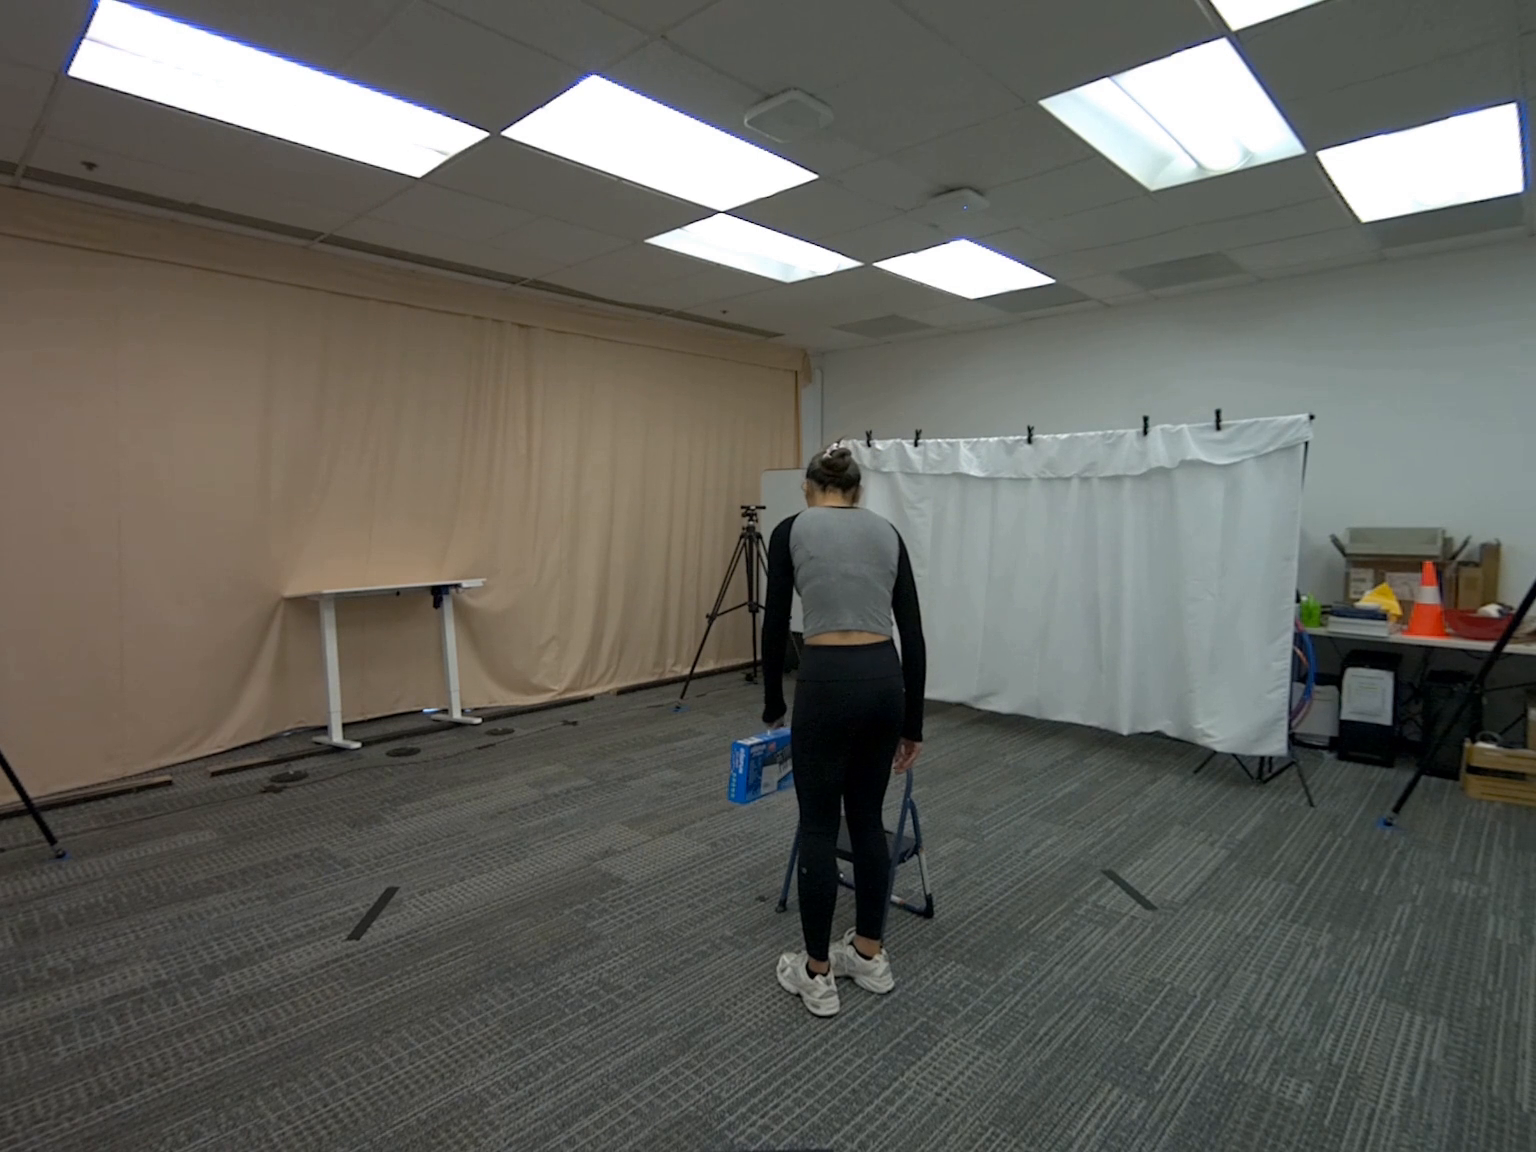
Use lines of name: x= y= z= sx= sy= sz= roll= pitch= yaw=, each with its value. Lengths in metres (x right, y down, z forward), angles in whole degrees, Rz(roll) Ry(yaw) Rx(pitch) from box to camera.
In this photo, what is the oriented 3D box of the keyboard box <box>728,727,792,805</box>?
keyboard box: x=0.026 y=0.576 z=2.610 sx=0.061 sy=0.176 sz=0.424 roll=4 pitch=0 yaw=30
